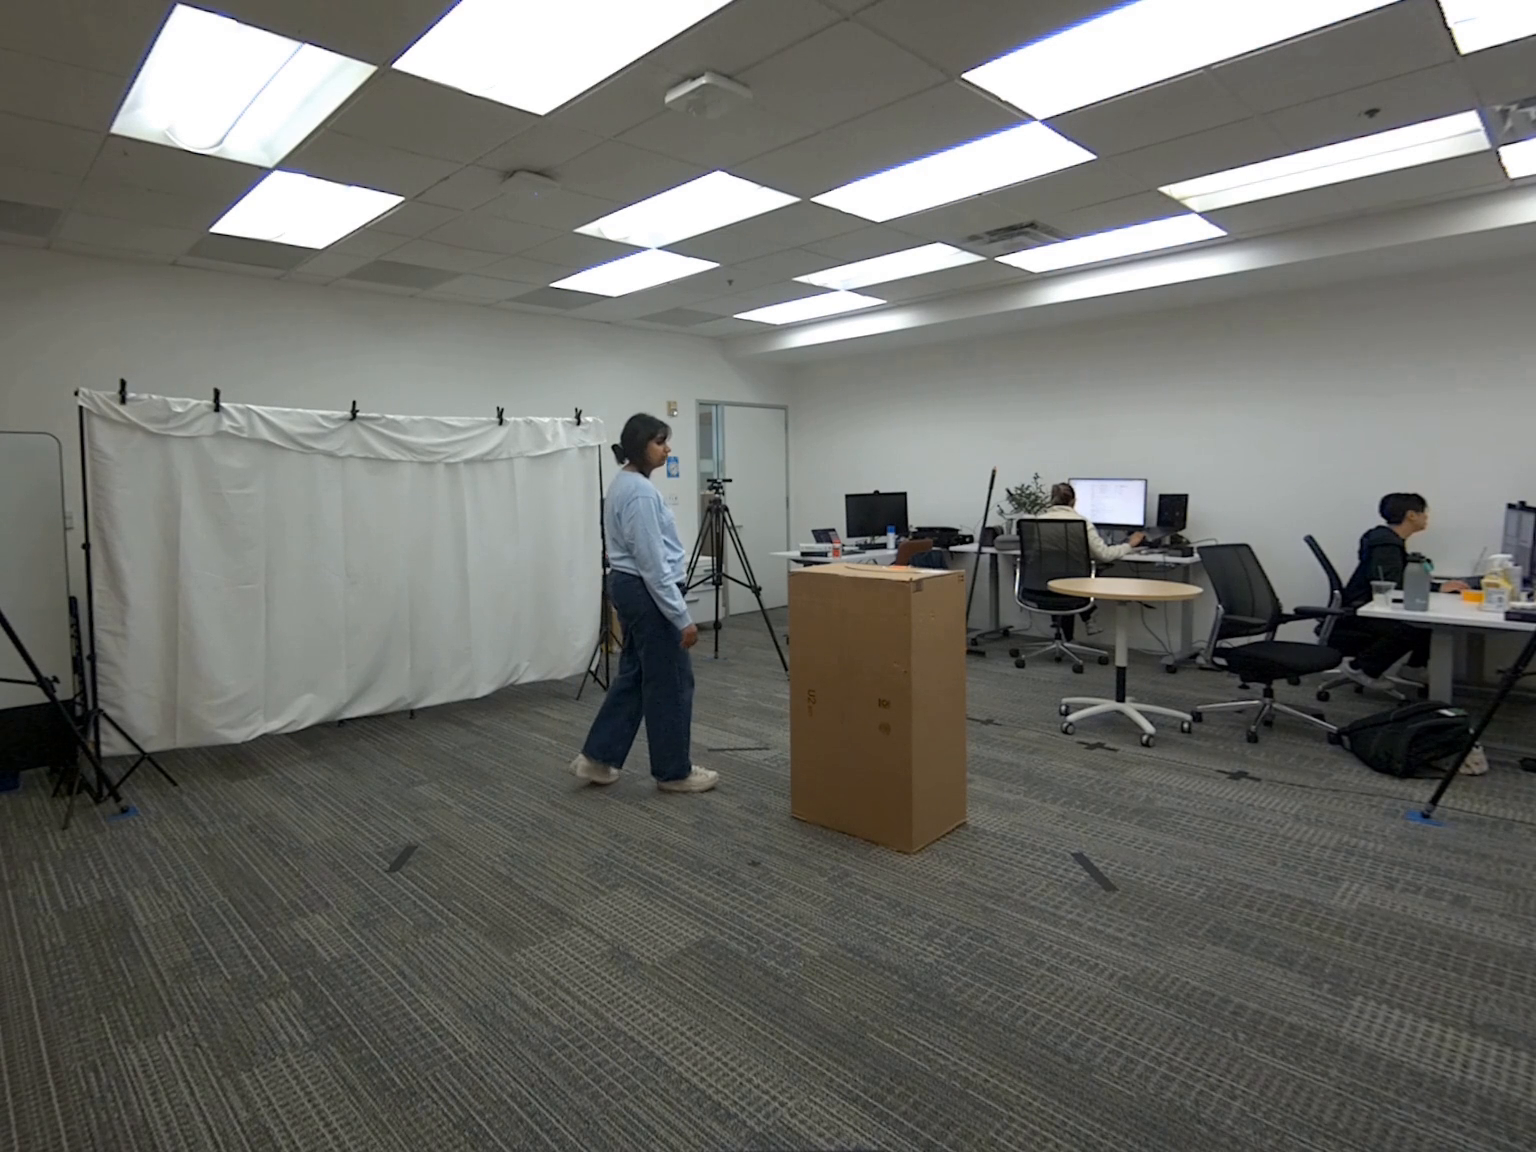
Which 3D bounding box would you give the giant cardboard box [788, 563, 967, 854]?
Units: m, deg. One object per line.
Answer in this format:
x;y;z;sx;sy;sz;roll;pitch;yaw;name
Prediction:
0.444;0.489;3.469;0.595;1.022;0.415;3;5;42;giant cardboard box
